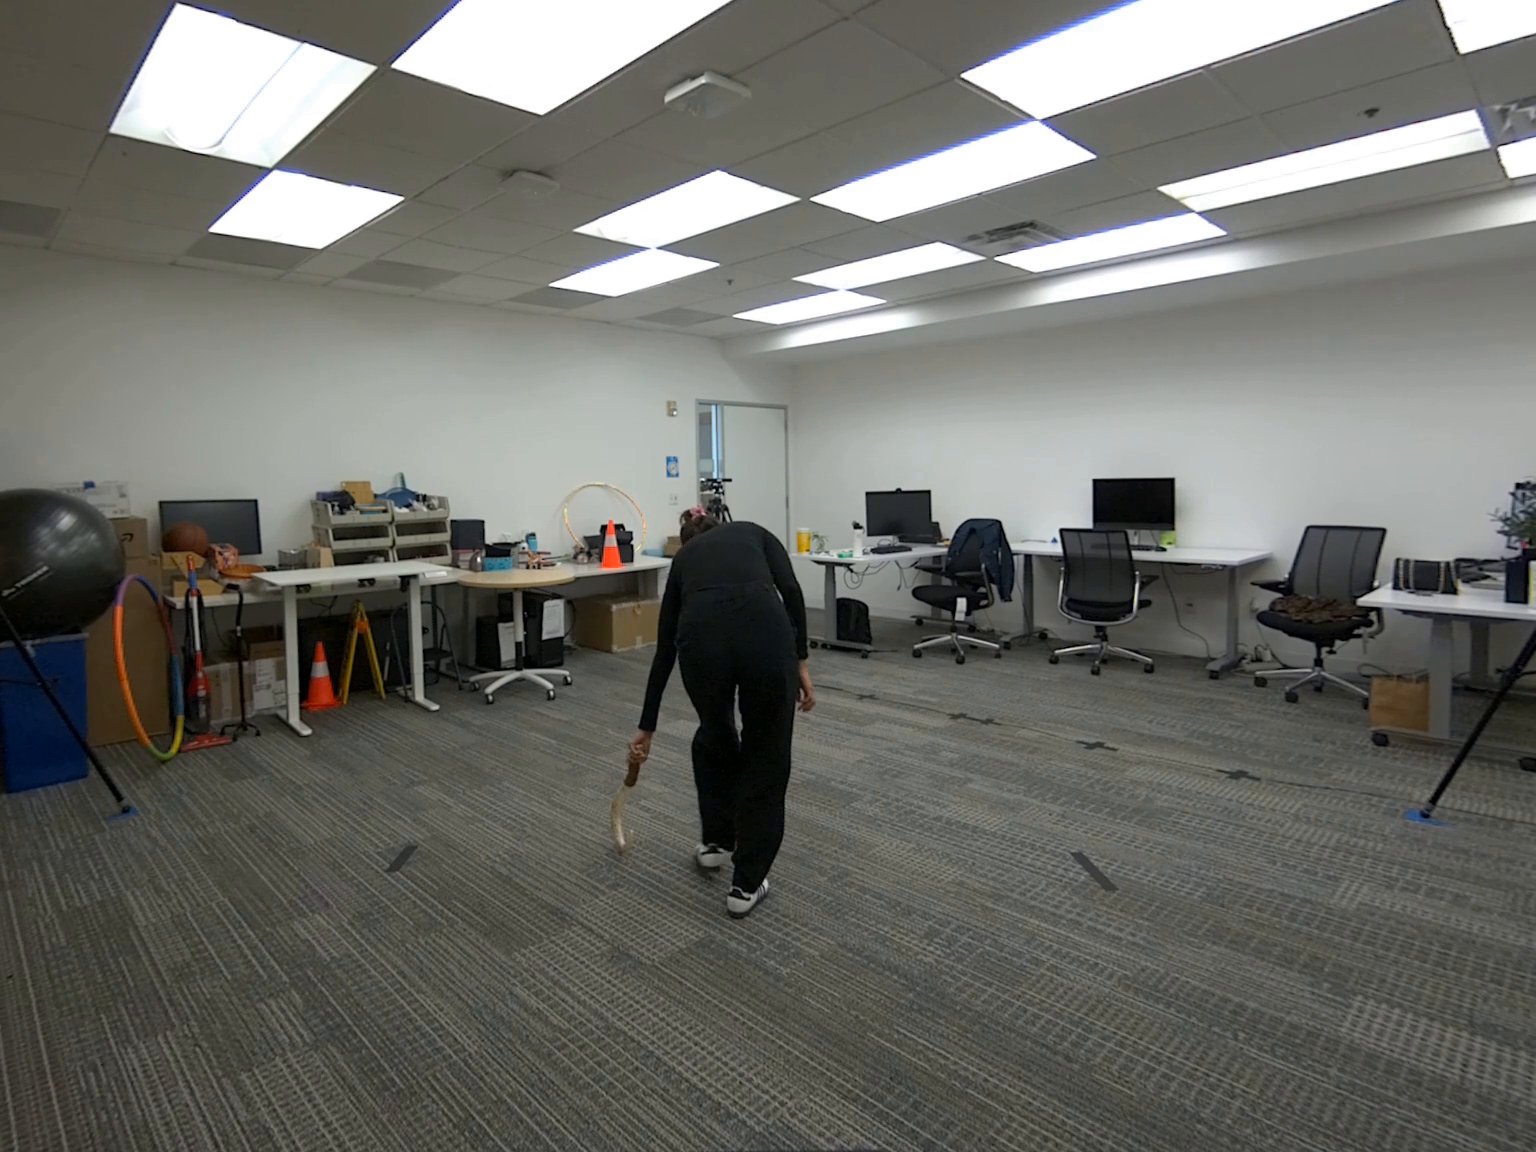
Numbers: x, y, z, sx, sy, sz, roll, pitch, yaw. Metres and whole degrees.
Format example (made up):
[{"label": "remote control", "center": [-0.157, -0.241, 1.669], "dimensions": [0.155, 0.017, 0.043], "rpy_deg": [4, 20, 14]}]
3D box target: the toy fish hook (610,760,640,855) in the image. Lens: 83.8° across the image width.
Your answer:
[{"label": "toy fish hook", "center": [-0.507, 0.822, 3.121], "dimensions": [0.047, 0.498, 0.233], "rpy_deg": [-2, 42, -25]}]
